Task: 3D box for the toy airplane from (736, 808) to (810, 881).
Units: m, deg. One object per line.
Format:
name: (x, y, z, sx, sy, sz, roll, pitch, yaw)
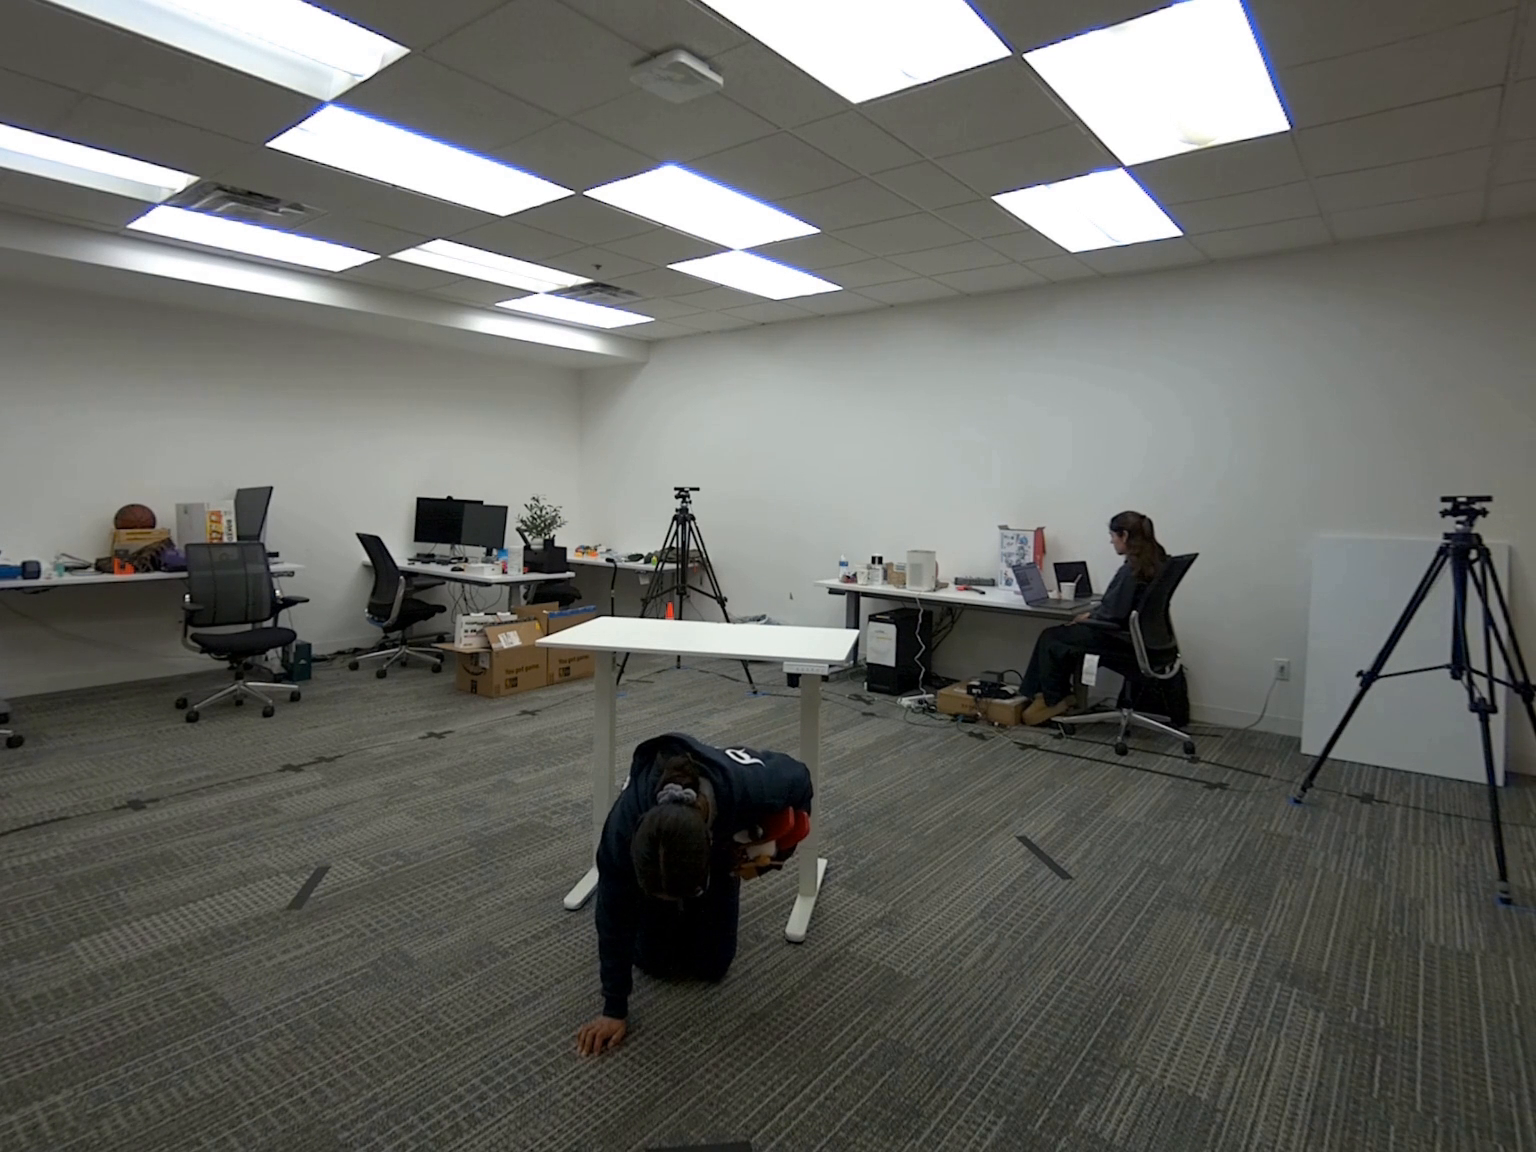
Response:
toy airplane: (-0.024, 0.632, 2.270, 0.259, 0.261, 0.150, 4, -35, 47)
